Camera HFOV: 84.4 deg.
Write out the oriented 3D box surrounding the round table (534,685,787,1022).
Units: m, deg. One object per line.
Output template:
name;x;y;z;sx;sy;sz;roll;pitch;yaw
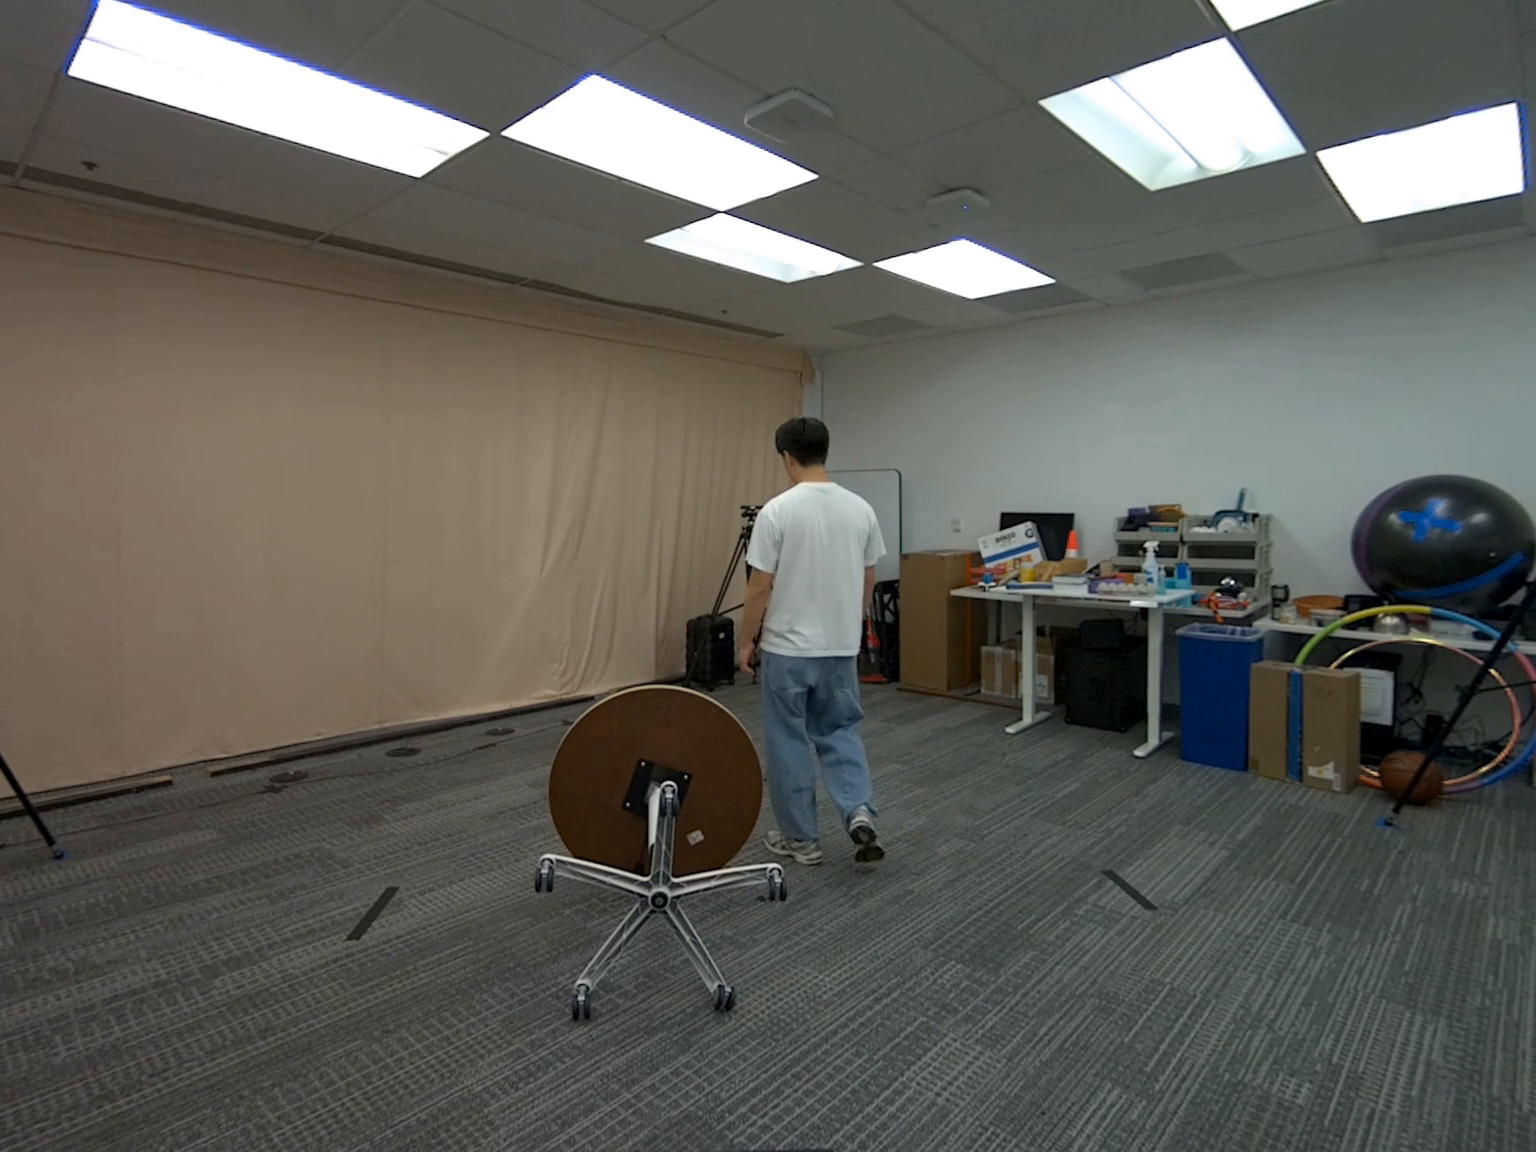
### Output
round table;-0.339;0.830;2.631;0.780;0.780;0.796;0;10;-7
